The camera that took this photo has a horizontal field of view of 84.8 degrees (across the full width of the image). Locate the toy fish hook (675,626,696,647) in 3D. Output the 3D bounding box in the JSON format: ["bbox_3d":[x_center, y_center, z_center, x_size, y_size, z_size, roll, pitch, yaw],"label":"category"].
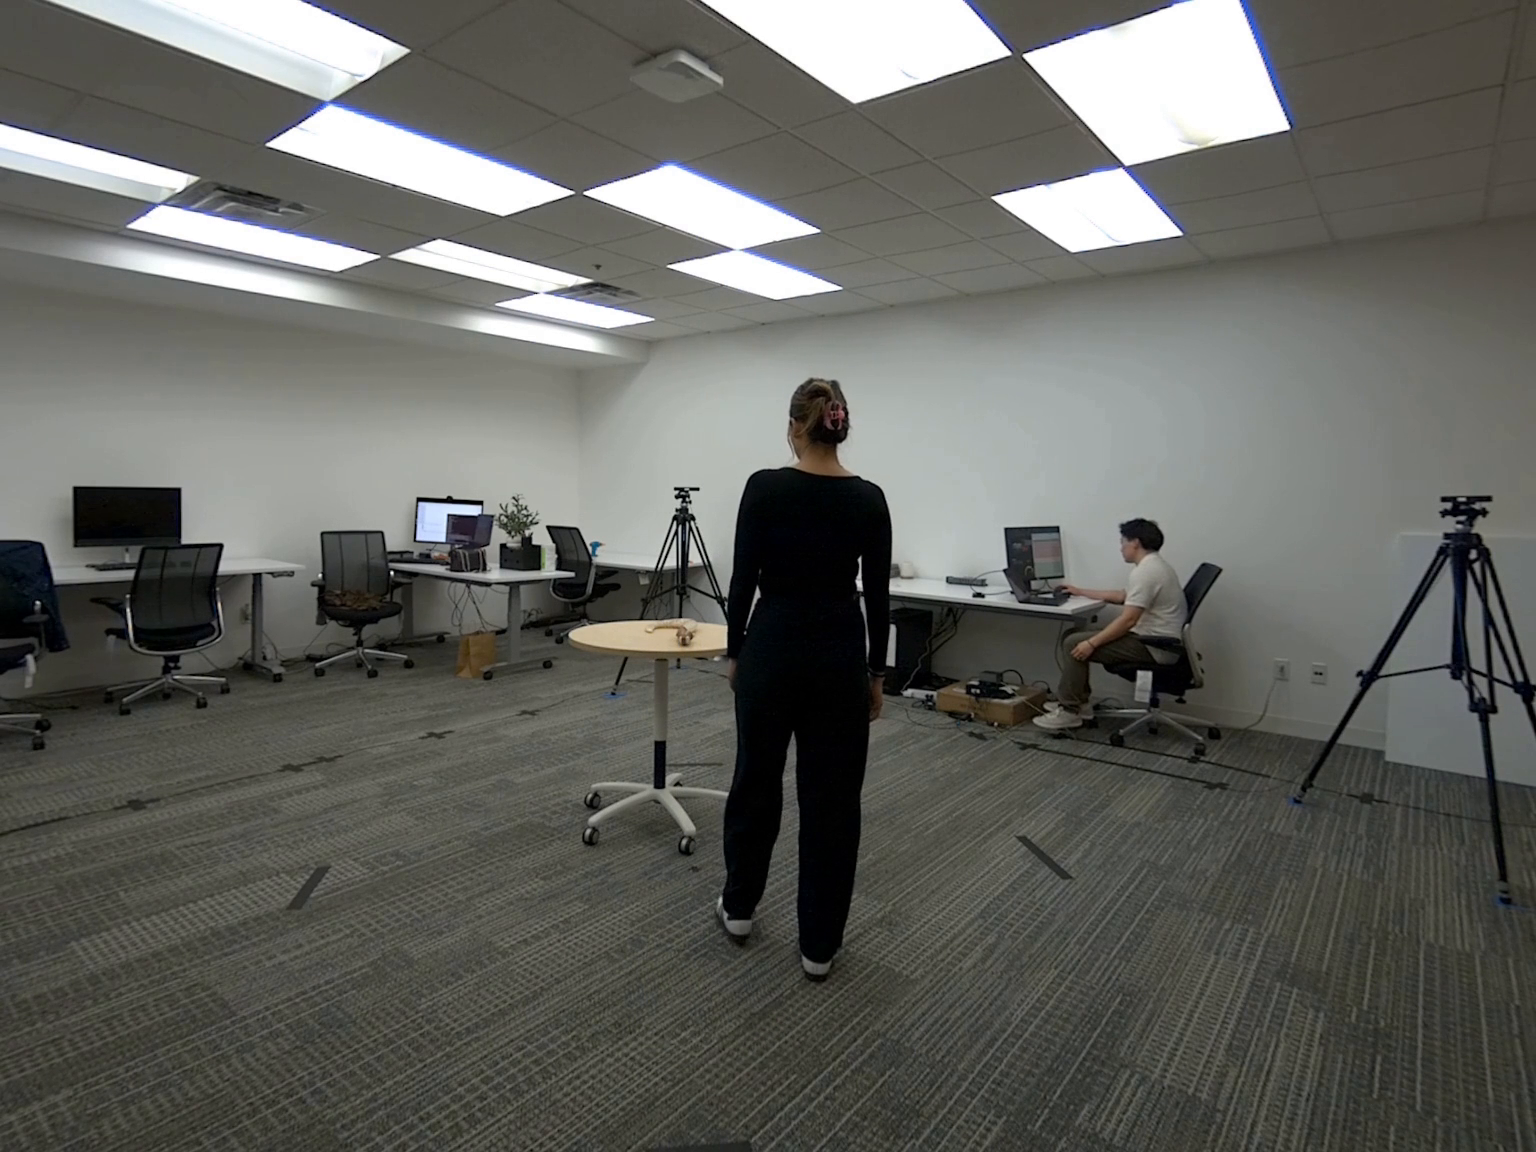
[{"bbox_3d":[-0.410,0.230,3.494,0.224,0.048,0.511,-7,5,-6],"label":"toy fish hook"}]
